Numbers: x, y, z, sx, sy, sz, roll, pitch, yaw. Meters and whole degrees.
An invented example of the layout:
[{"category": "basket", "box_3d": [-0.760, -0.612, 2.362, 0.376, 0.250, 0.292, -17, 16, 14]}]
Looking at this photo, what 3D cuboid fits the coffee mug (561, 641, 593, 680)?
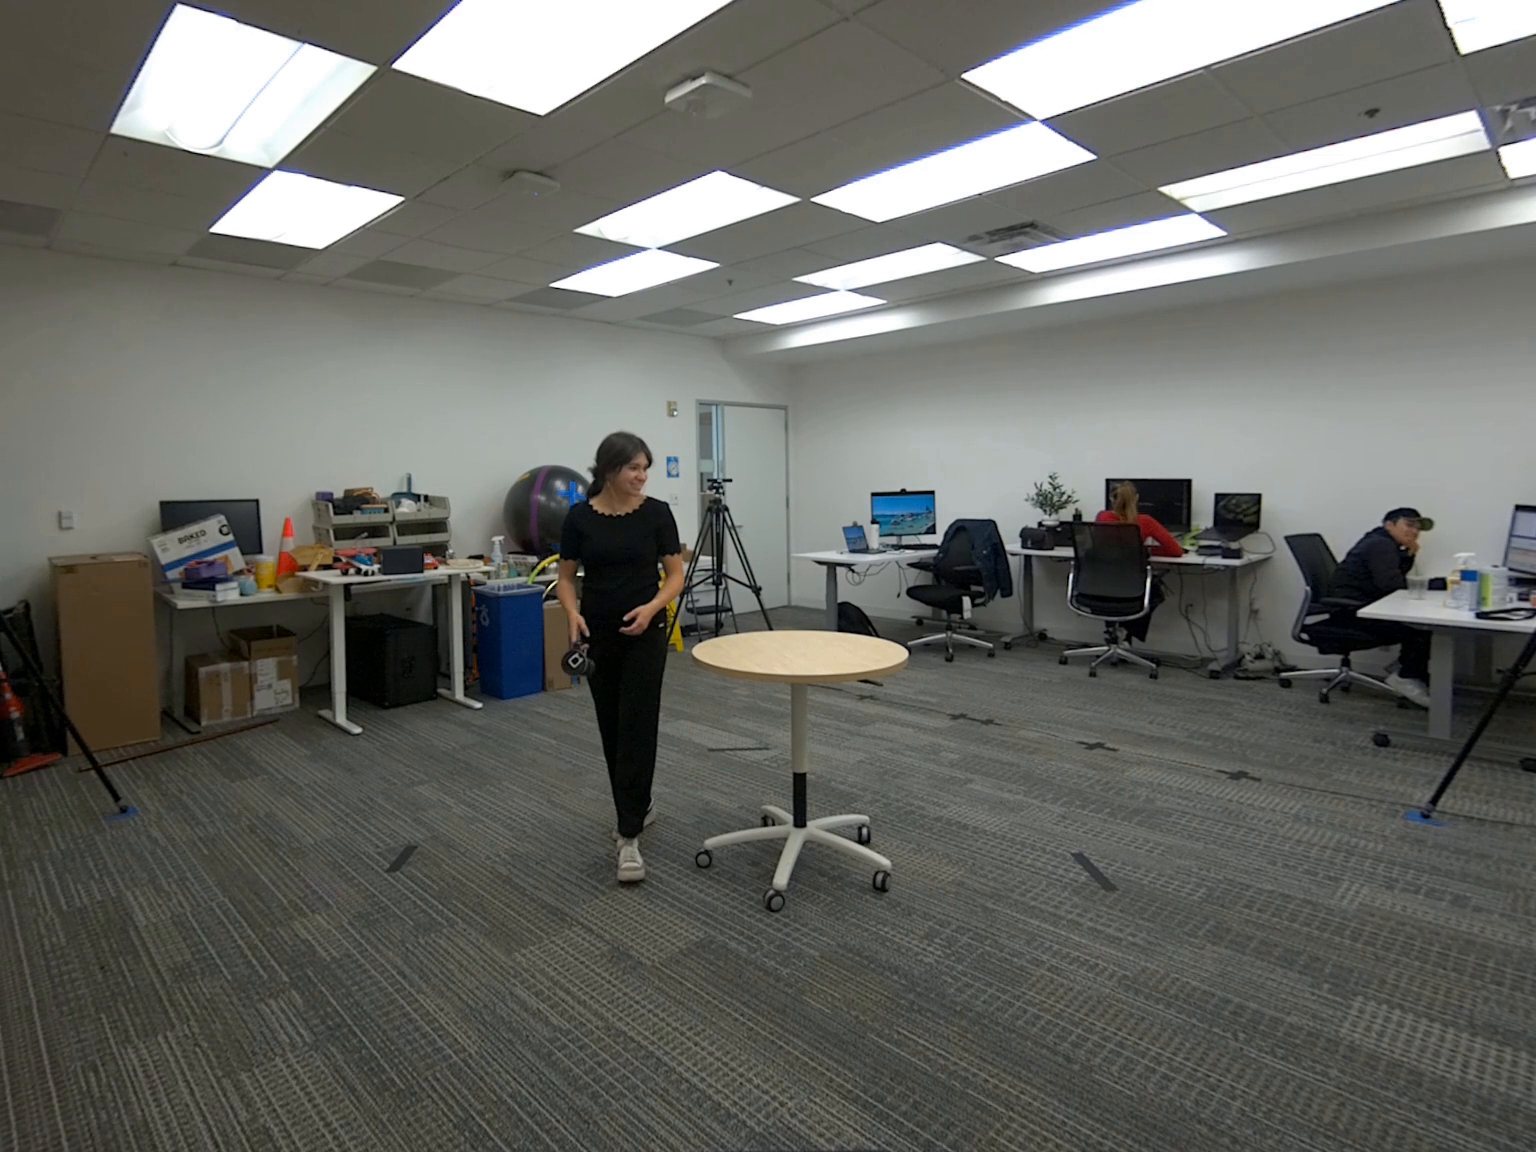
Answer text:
[{"category": "coffee mug", "box_3d": [-0.665, 0.301, 3.039, 0.089, 0.122, 0.200, 42, -4, 8]}]
